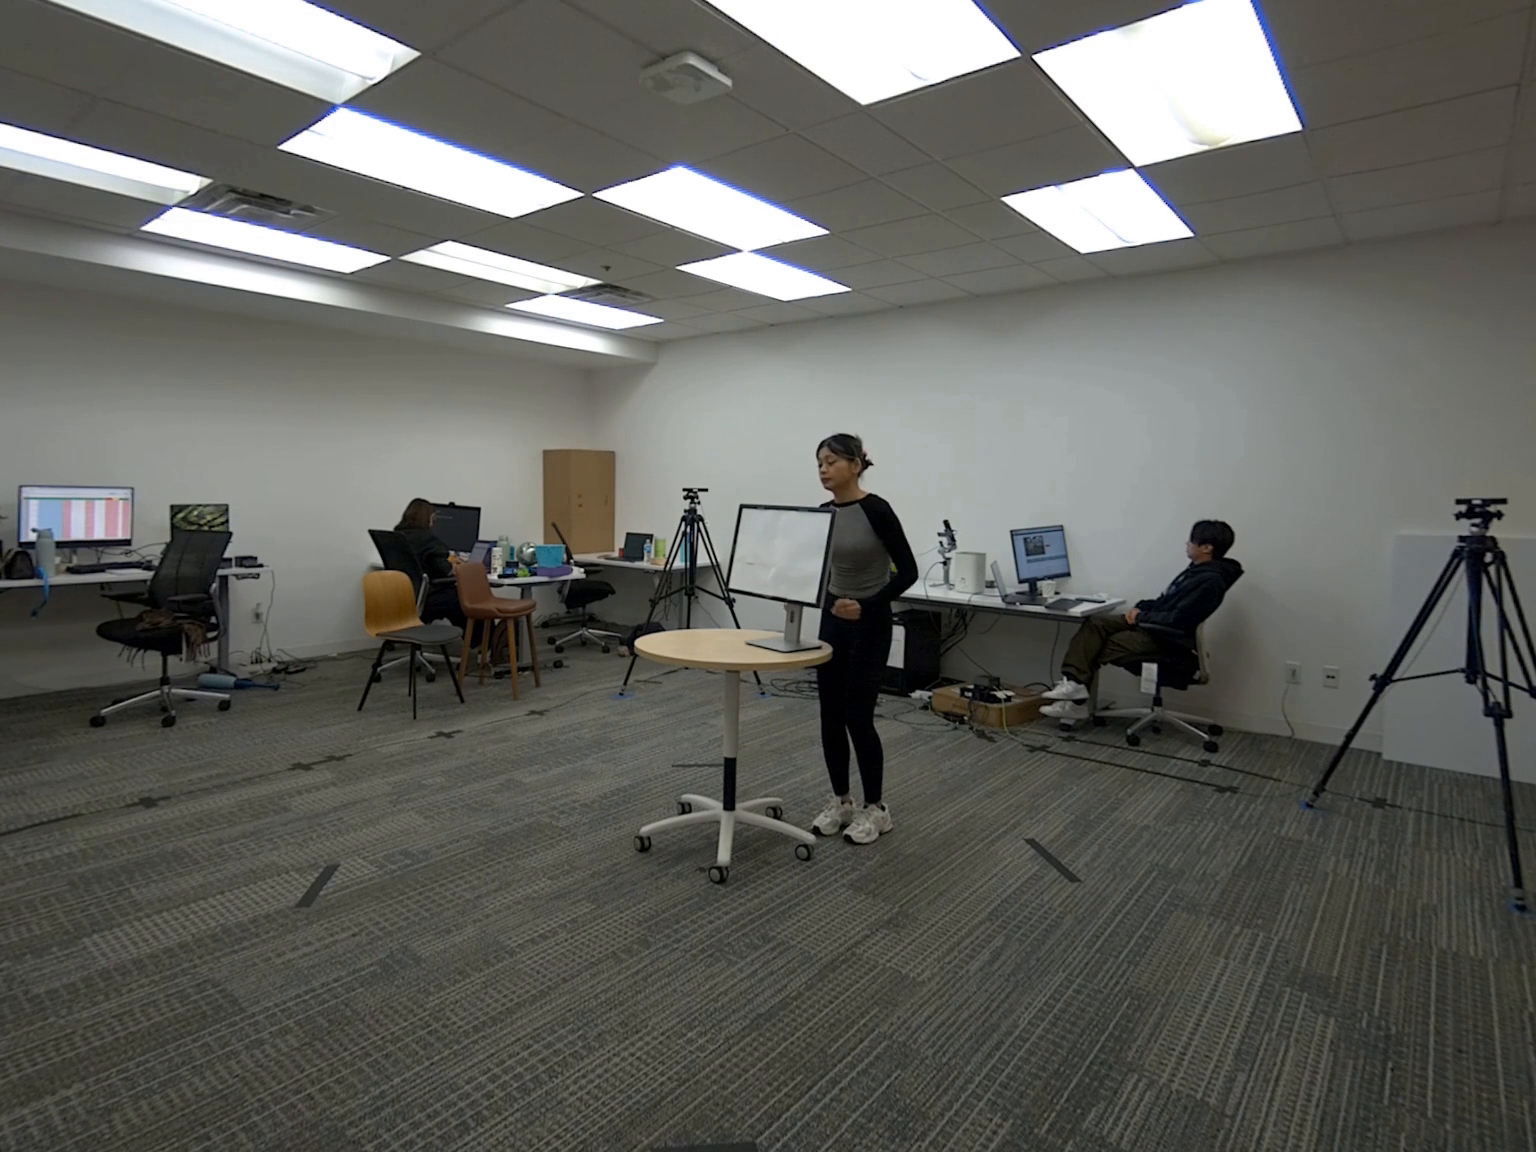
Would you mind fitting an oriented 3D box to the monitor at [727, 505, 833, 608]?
[{"bbox_3d":[0.057,0.000,3.275,0.181,0.521,0.557,-3,6,-40],"label":"monitor"}]
